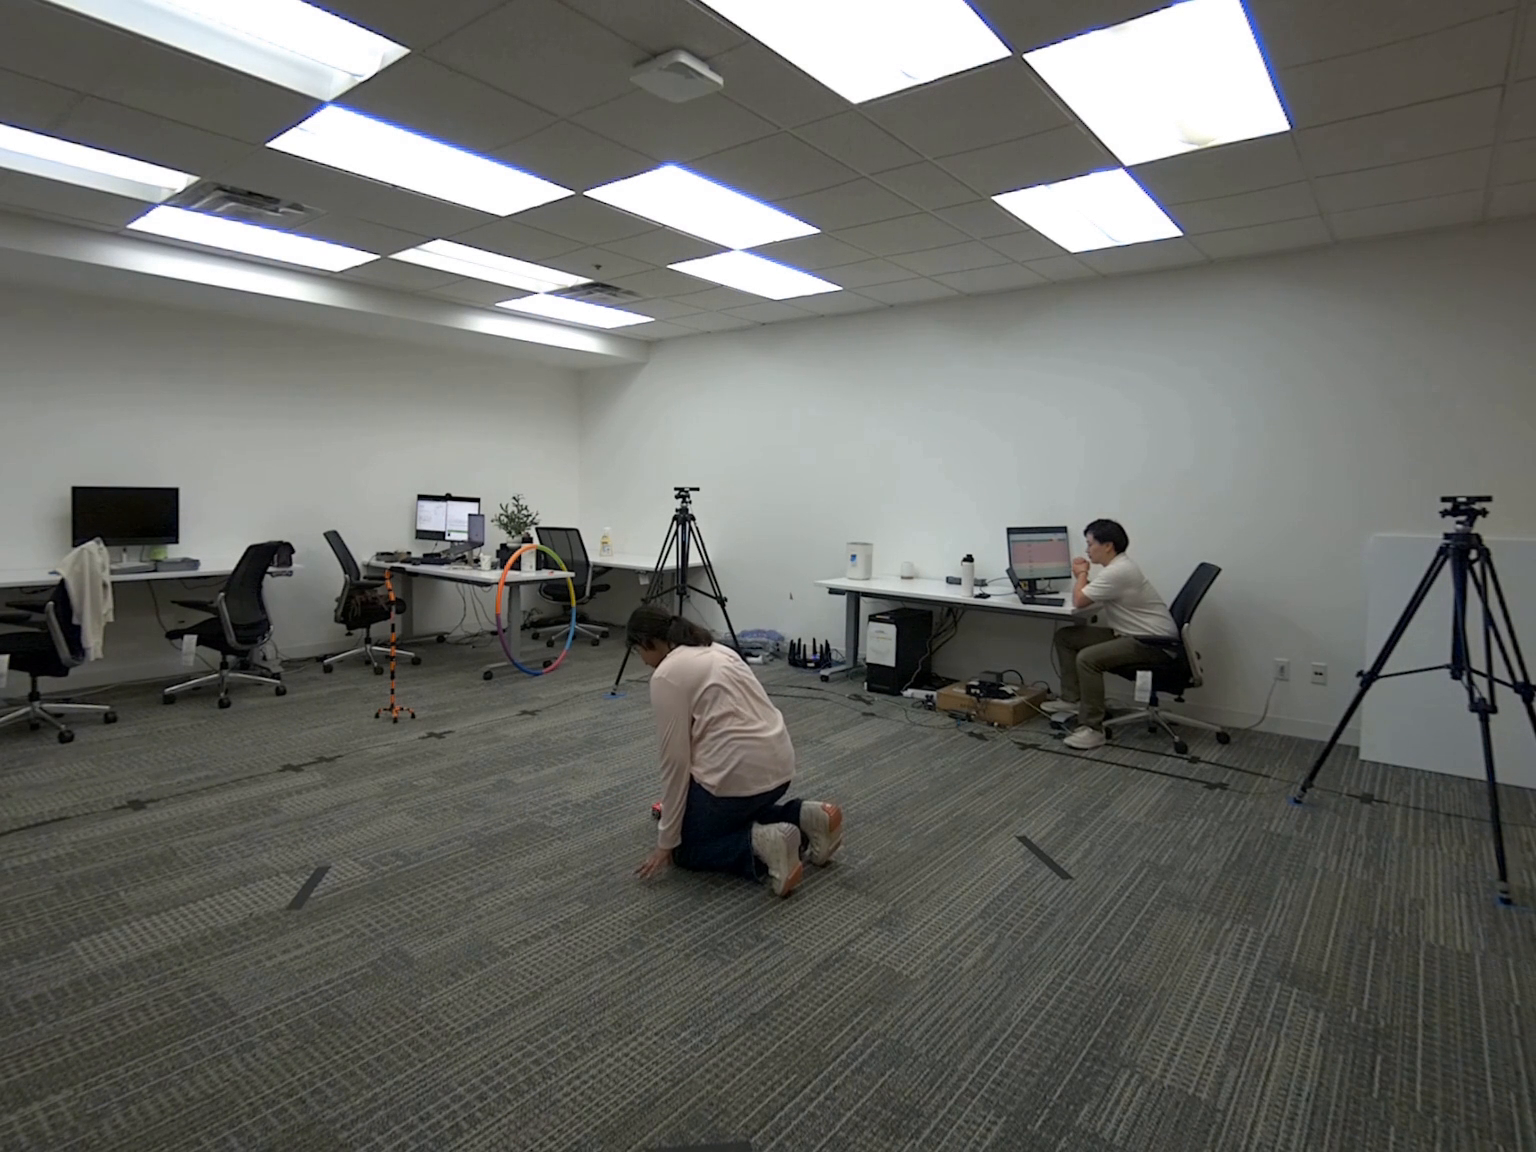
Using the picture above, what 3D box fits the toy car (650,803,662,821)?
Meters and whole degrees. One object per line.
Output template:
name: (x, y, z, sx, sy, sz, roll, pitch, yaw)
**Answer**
toy car: (-0.369, 0.982, 3.562, 0.261, 0.083, 0.127, -8, -2, 32)
